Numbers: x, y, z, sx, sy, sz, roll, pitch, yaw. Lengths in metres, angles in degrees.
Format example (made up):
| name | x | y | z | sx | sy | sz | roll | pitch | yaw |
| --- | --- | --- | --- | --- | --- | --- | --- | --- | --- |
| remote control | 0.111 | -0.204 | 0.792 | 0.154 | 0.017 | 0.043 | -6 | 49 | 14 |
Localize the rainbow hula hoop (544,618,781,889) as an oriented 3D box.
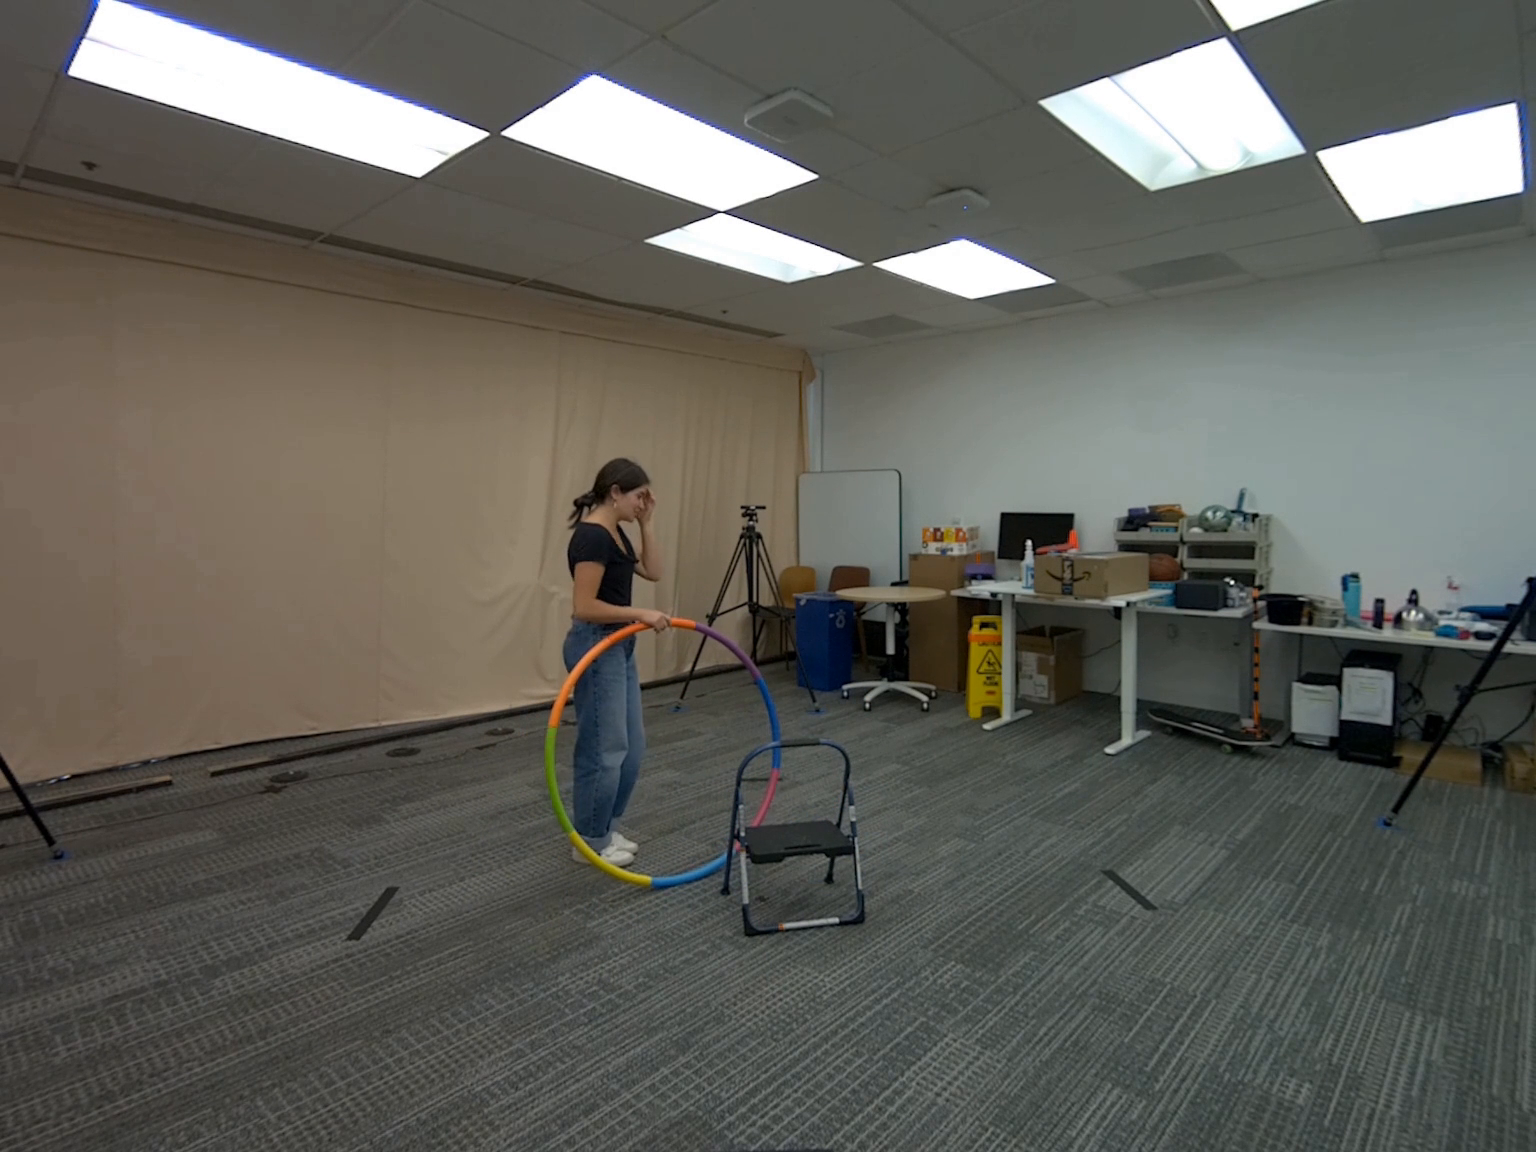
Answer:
| name | x | y | z | sx | sy | sz | roll | pitch | yaw |
| --- | --- | --- | --- | --- | --- | --- | --- | --- | --- |
| rainbow hula hoop | -0.353 | 0.654 | 3.173 | 0.951 | 0.983 | 0.036 | -3 | -8 | -32 |
